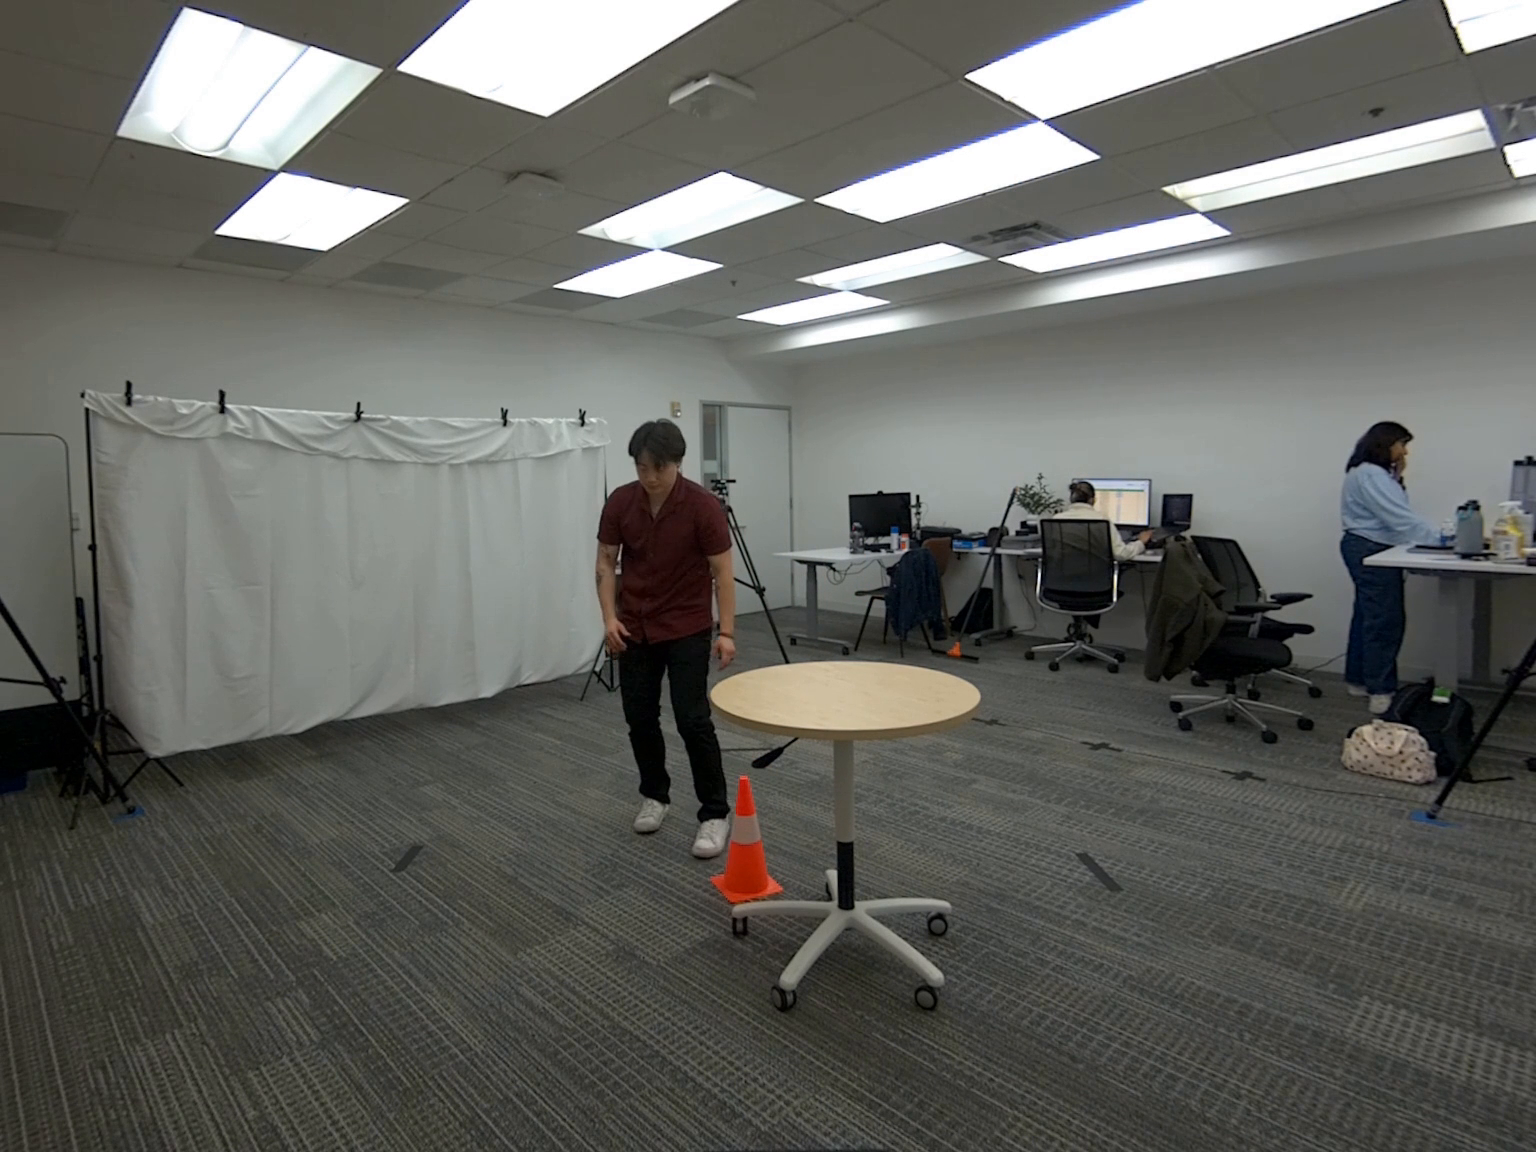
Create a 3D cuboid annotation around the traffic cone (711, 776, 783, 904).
[{"bbox_3d":[-0.081,0.883,2.937,0.201,0.382,0.208,-4,5,-26],"label":"traffic cone"}]
